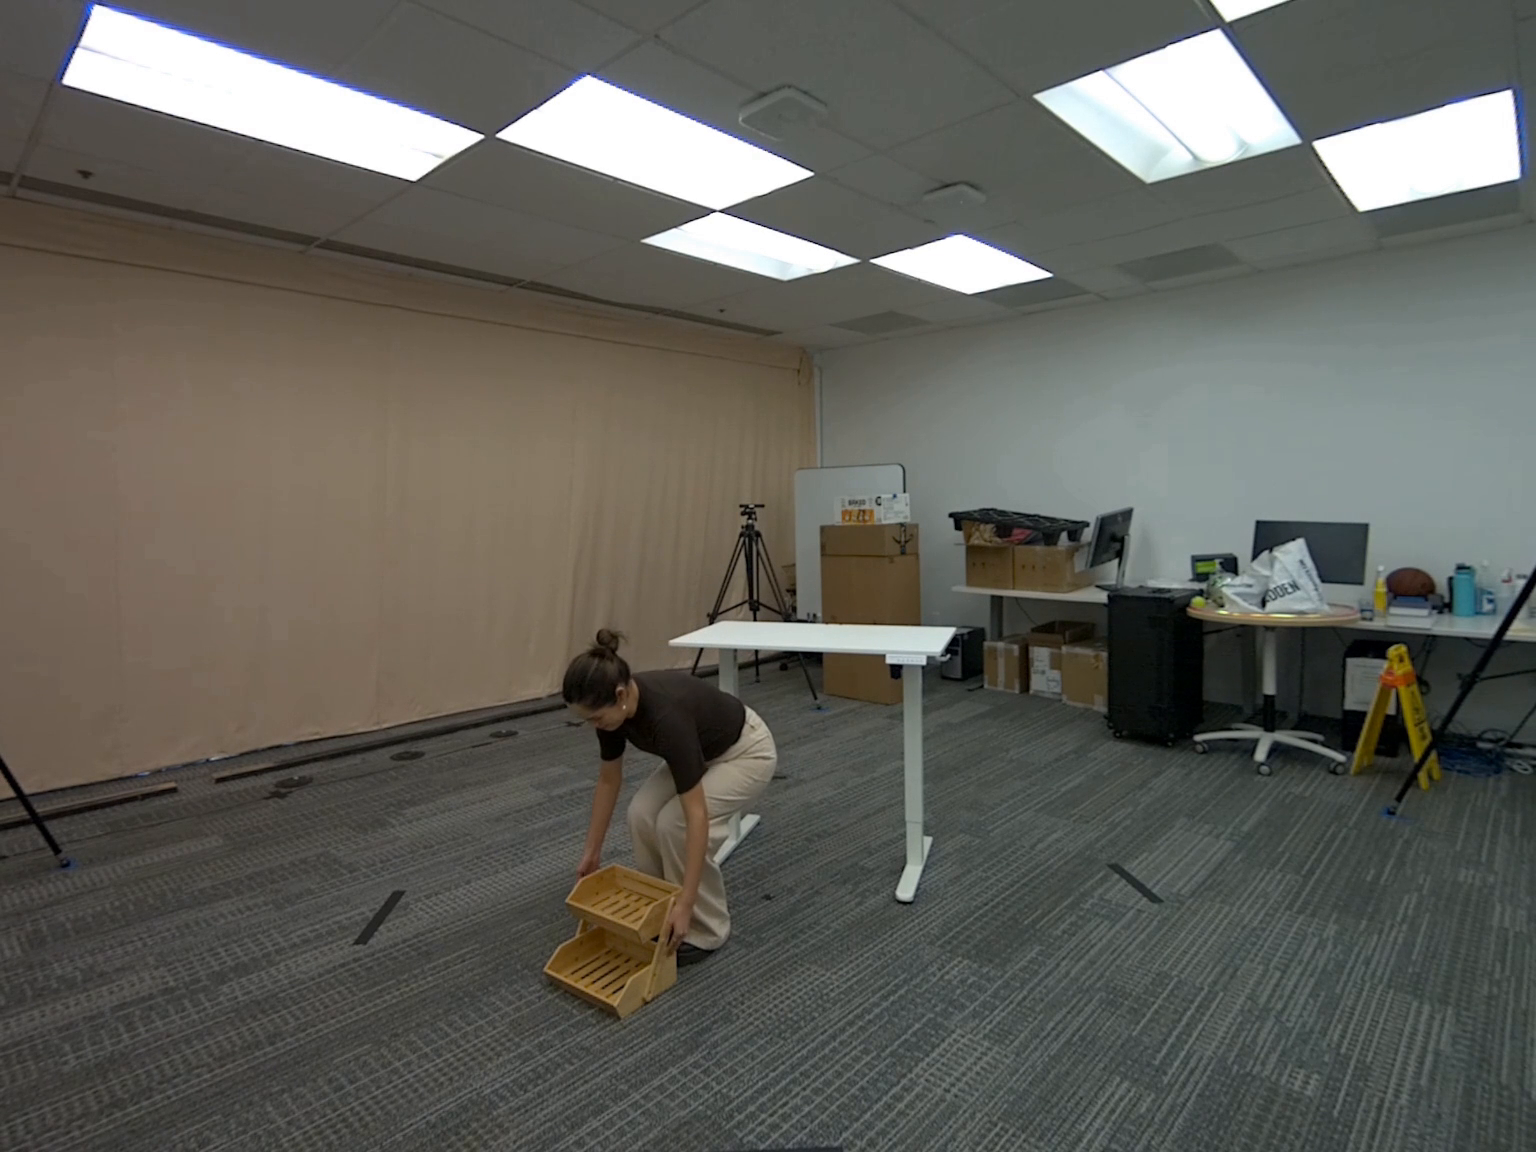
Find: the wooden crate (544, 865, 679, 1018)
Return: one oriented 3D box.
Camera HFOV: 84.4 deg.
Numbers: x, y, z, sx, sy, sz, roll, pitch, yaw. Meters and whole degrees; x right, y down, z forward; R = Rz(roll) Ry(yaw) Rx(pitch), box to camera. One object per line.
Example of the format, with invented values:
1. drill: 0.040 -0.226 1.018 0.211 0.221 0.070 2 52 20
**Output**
1. wooden crate: -0.447 1.057 2.476 0.335 0.272 0.293 2 5 36
